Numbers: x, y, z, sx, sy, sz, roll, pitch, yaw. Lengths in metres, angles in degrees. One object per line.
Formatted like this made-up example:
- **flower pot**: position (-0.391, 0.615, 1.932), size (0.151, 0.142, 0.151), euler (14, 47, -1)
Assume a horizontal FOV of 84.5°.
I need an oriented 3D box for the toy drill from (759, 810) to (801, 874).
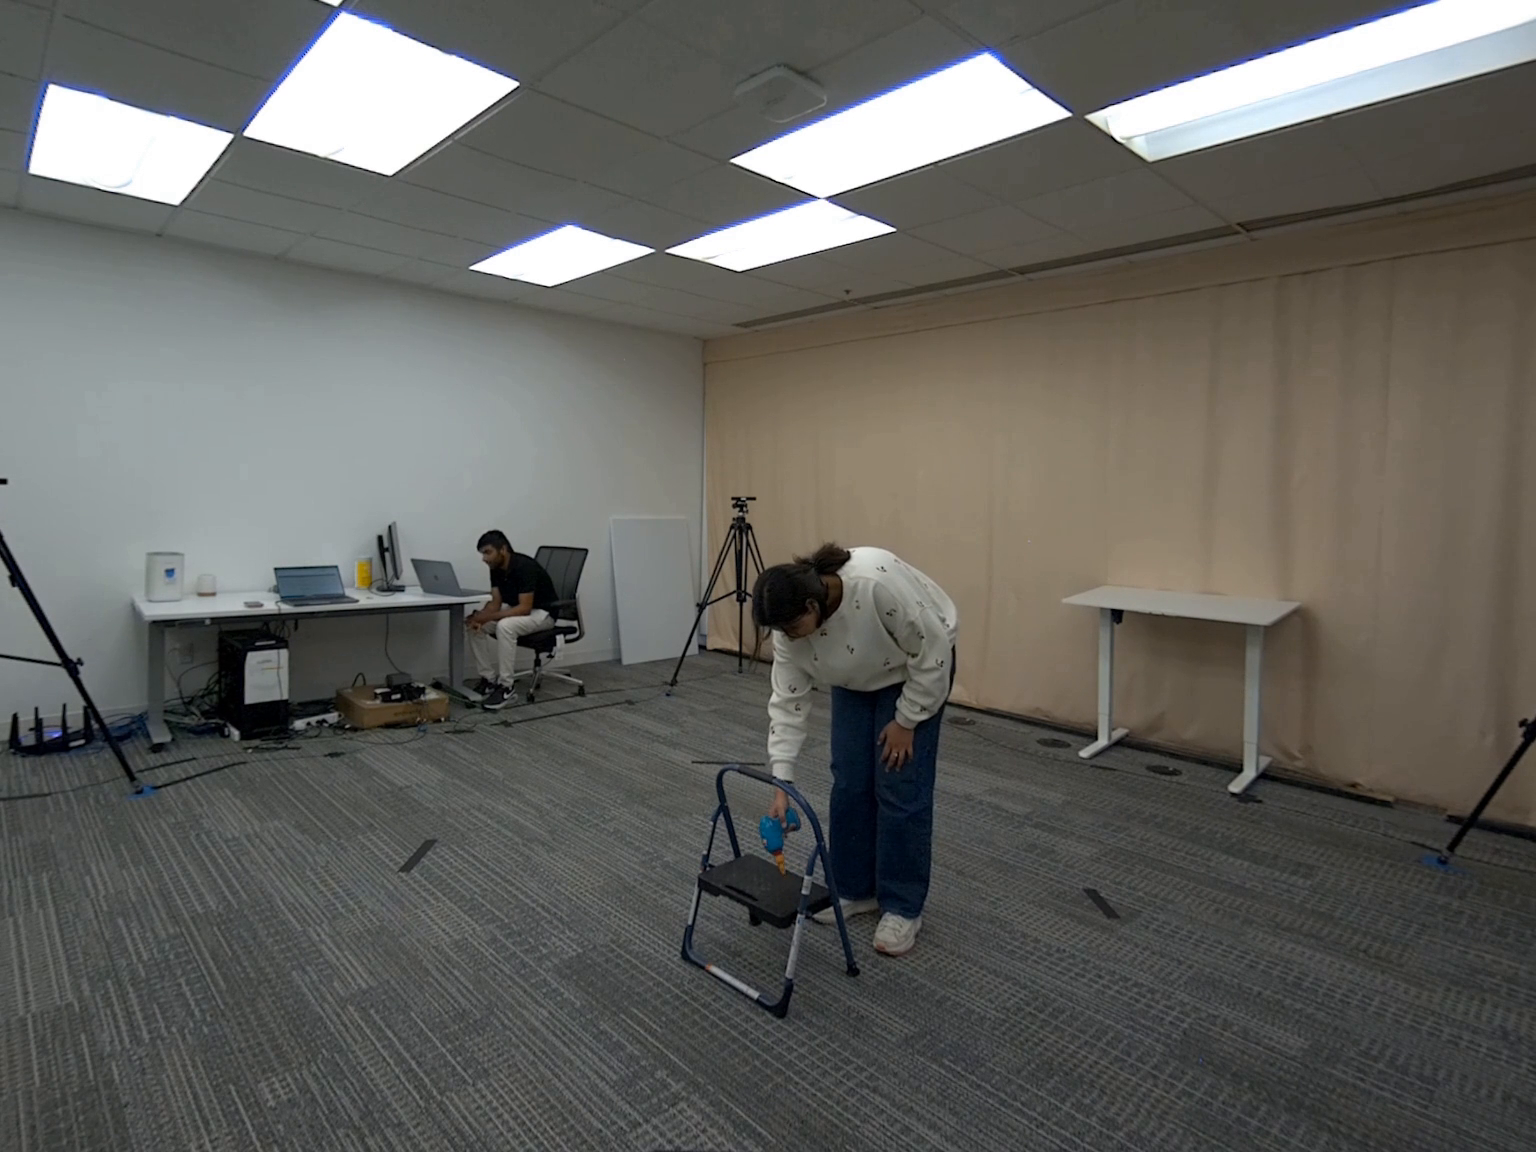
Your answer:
- **toy drill**: position (0.038, 0.782, 2.463), size (0.062, 0.171, 0.143), euler (-25, -10, 41)
